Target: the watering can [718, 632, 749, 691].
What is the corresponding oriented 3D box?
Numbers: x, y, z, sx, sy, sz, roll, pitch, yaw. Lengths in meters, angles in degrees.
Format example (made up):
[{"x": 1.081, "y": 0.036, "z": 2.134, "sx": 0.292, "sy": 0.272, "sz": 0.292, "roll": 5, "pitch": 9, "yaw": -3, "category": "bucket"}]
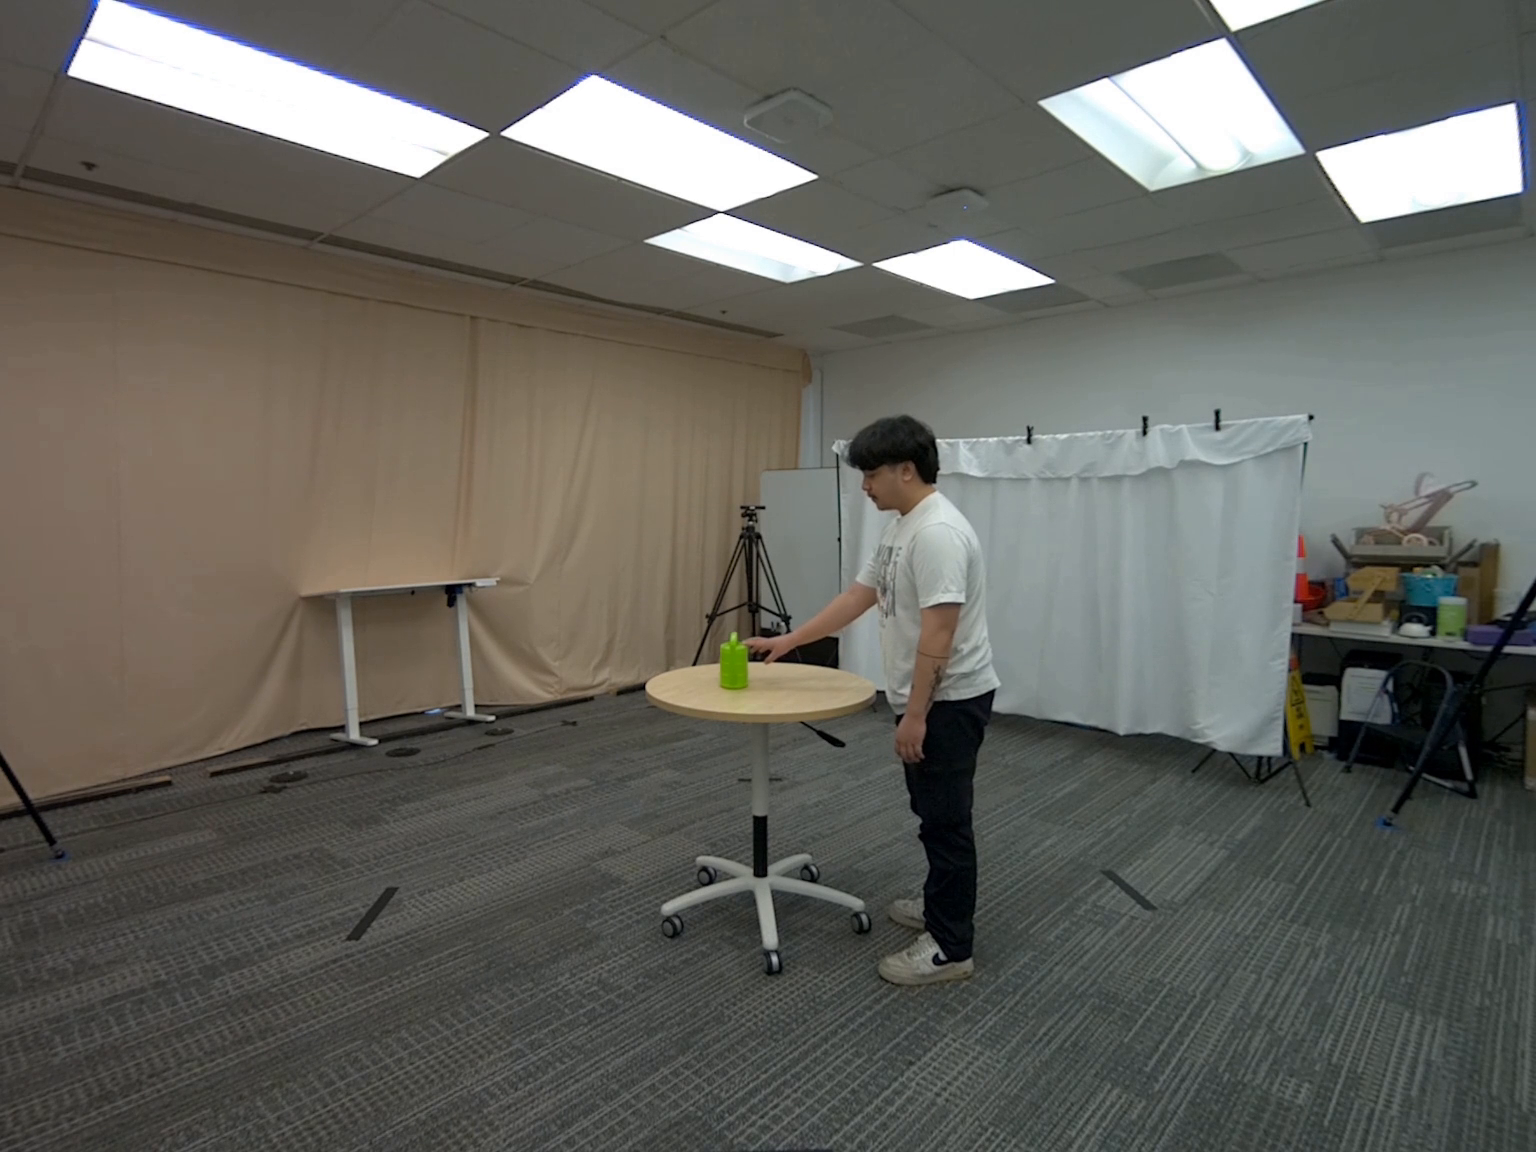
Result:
[{"x": -0.123, "y": 0.290, "z": 2.765, "sx": 0.100, "sy": 0.176, "sz": 0.273, "roll": -1, "pitch": 4, "yaw": 19, "category": "watering can"}]
